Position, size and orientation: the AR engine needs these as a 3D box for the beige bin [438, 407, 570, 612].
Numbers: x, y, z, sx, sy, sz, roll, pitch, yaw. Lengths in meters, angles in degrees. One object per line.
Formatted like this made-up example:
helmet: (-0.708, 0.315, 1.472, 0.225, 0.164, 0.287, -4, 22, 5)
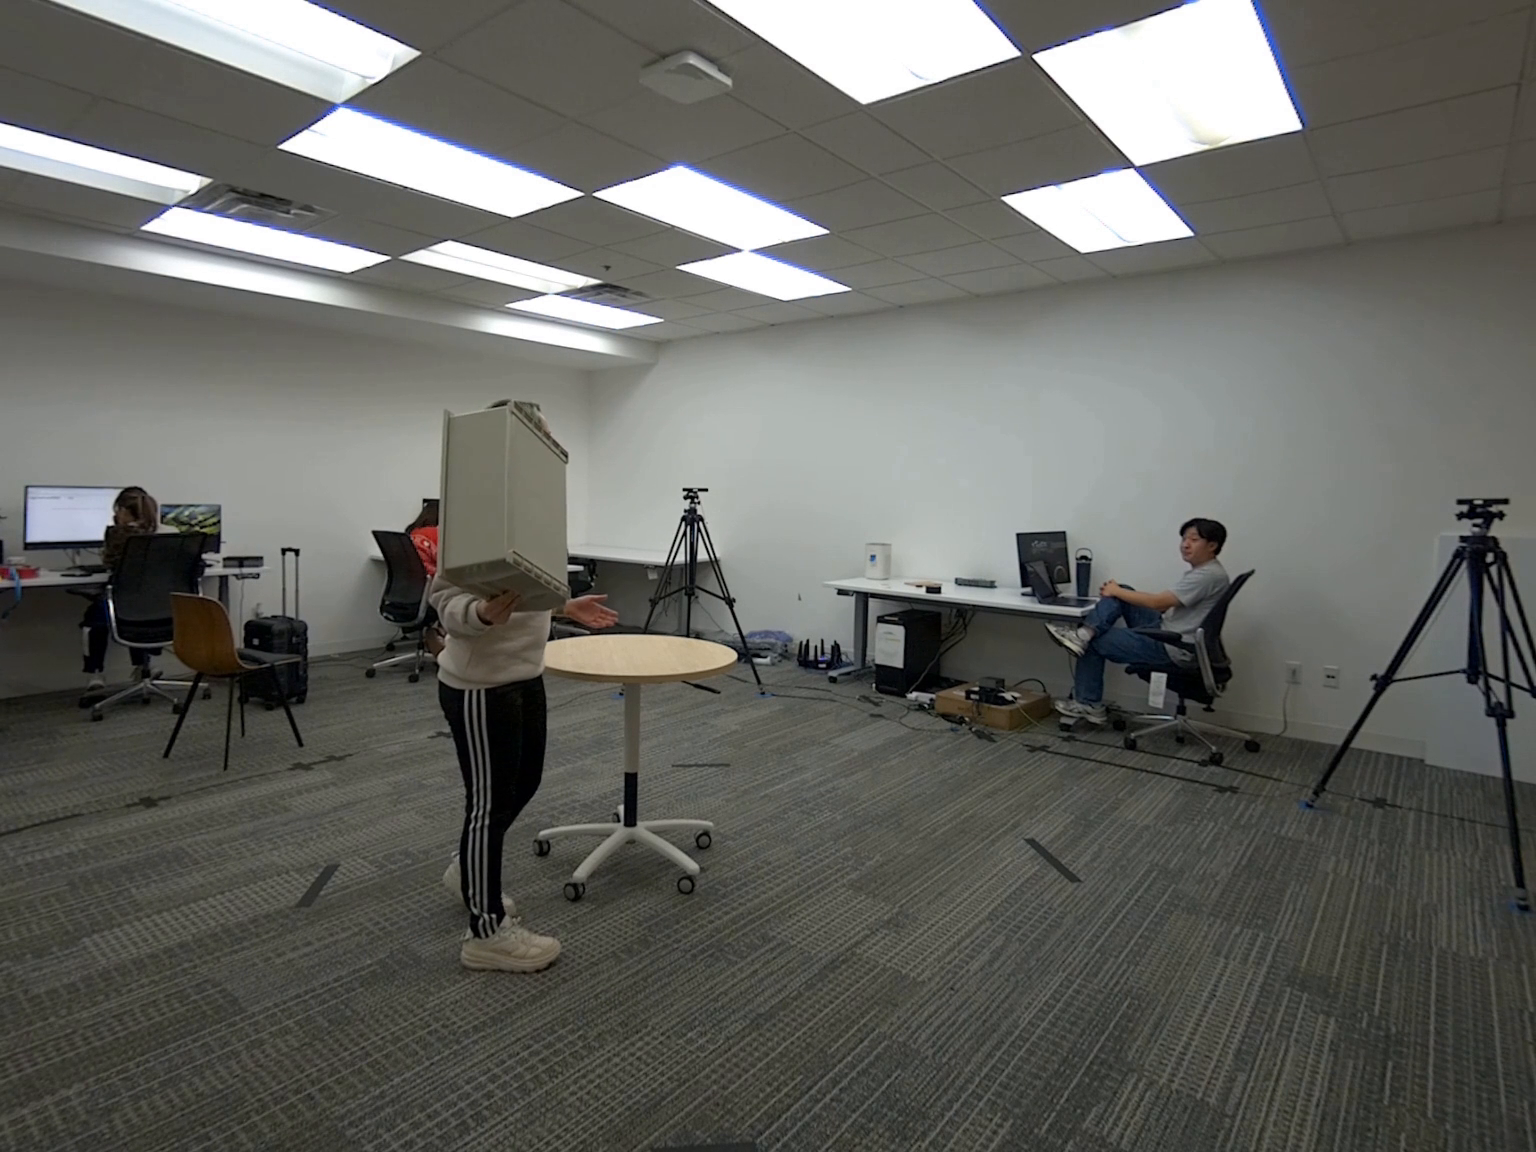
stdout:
beige bin: (-0.639, -0.158, 2.119, 0.191, 0.431, 0.366, -9, -20, 10)
